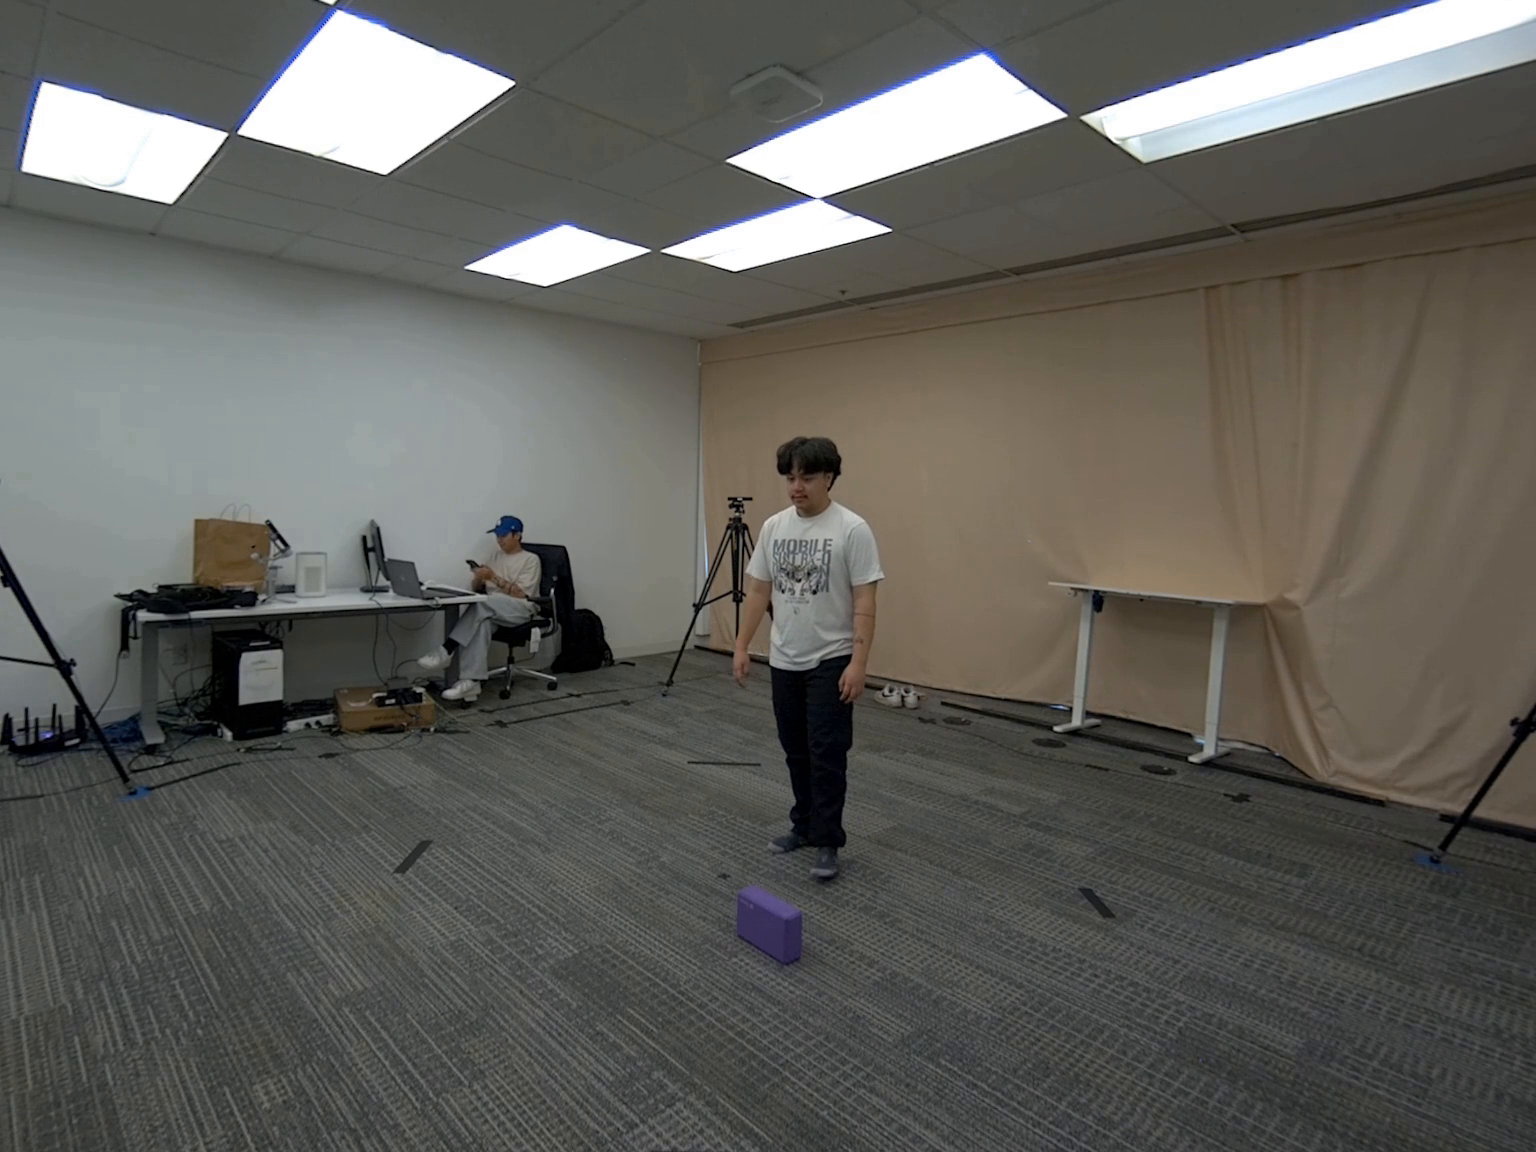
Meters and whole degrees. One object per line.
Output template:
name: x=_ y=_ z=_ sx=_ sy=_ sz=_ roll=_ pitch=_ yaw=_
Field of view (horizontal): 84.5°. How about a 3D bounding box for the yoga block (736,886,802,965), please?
yoga block: x=-0.004 y=1.080 z=2.614 sx=0.075 sy=0.148 sz=0.235 roll=-1 pitch=6 yaw=-41
